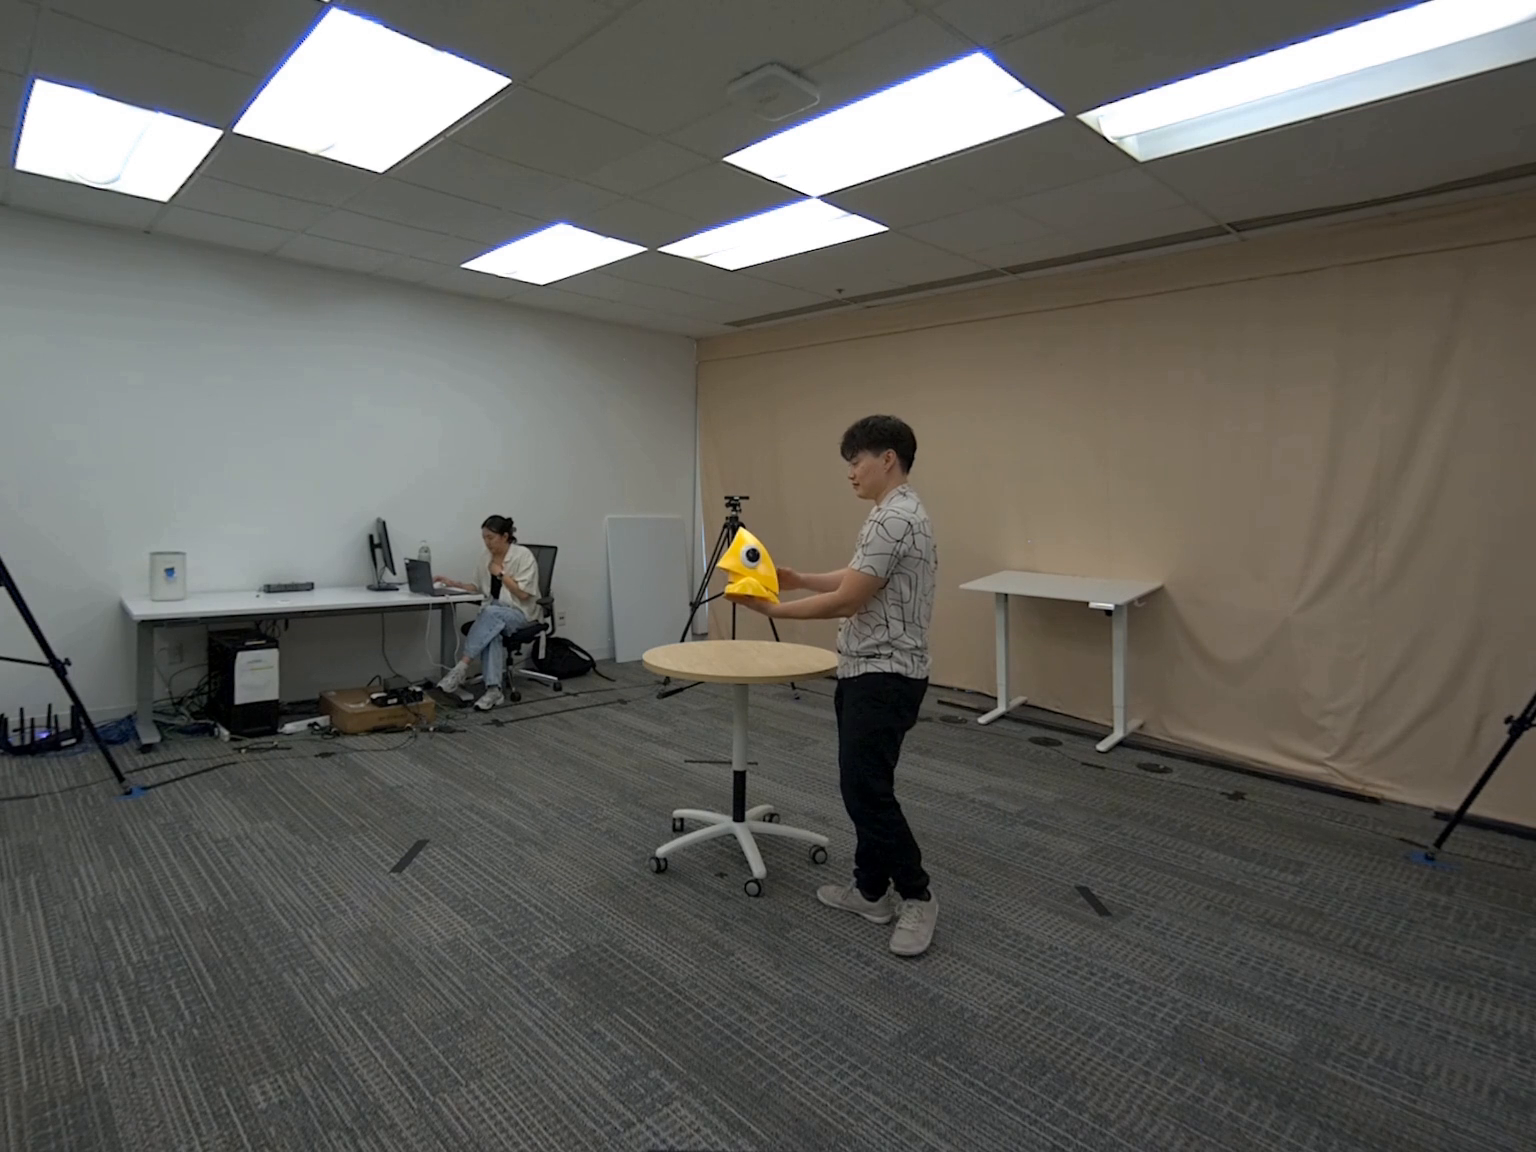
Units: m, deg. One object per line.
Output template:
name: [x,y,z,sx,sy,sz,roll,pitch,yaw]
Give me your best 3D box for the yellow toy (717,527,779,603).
yellow toy: [-0.047,-0.039,2.716,0.195,0.232,0.201,5,-9,15]
